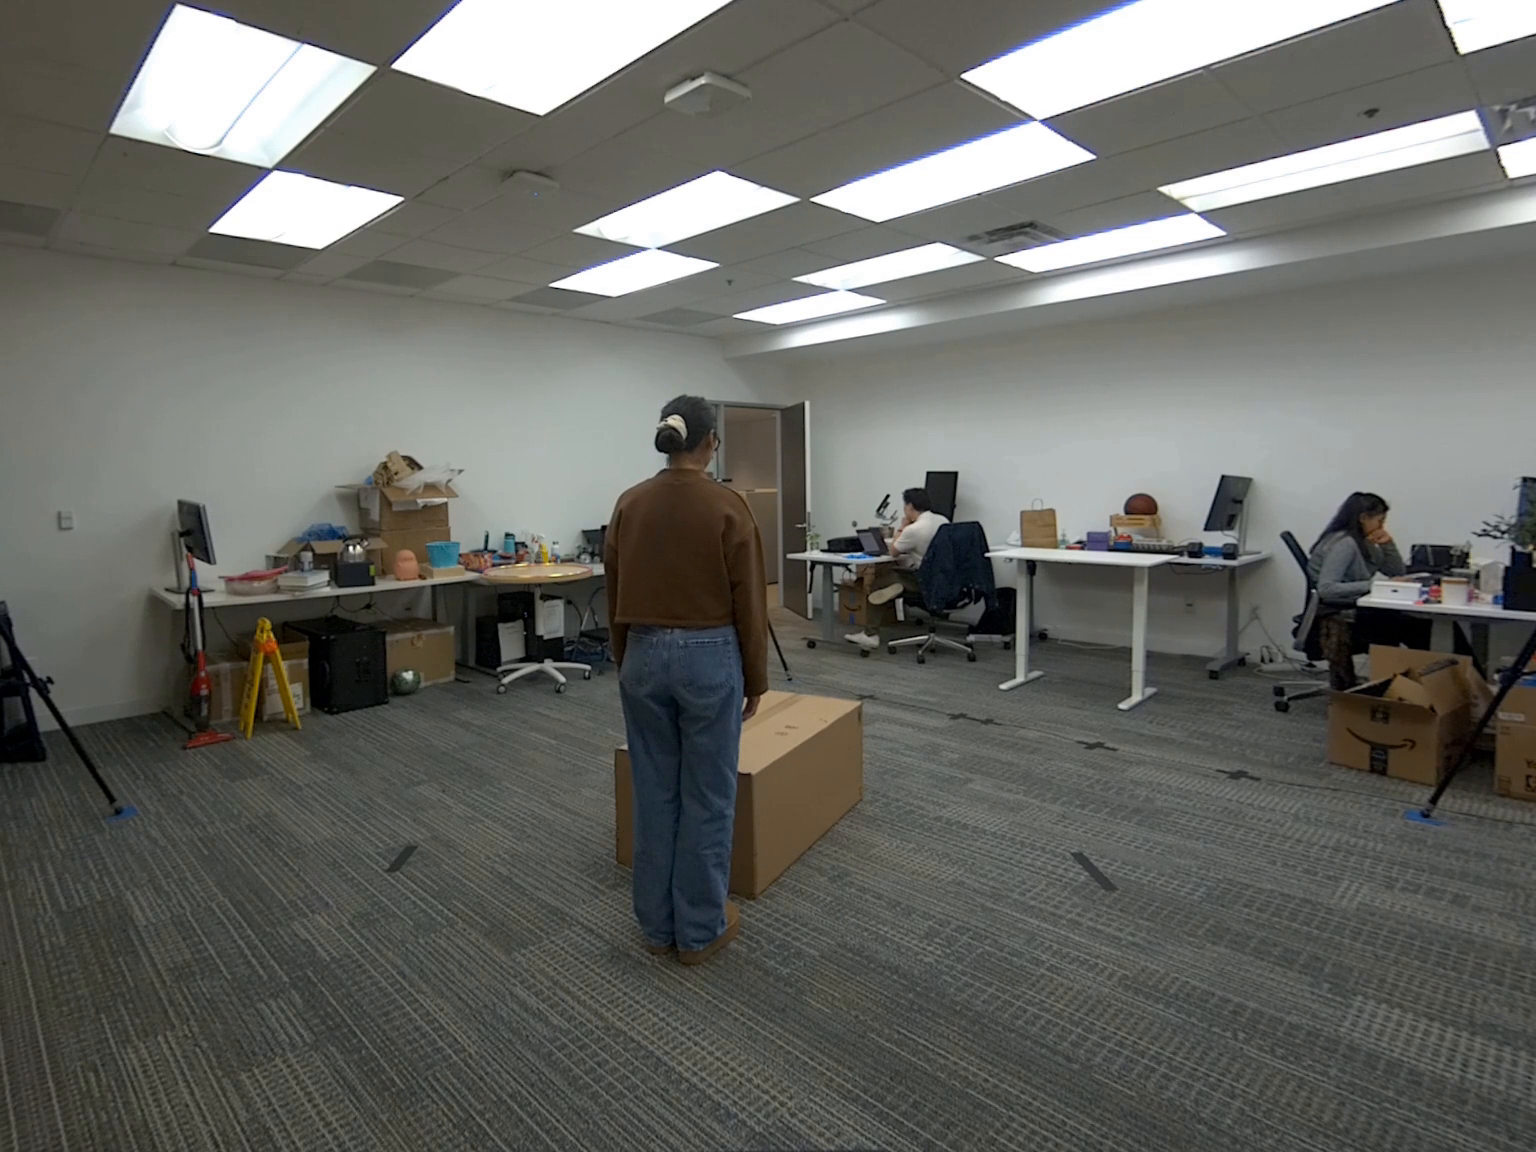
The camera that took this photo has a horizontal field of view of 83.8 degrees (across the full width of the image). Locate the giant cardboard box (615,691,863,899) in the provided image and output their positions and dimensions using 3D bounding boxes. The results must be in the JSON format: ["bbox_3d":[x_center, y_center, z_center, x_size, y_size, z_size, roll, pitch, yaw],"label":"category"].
[{"bbox_3d":[-0.071,0.798,3.408,0.598,0.445,1.005,1,6,28],"label":"giant cardboard box"}]
